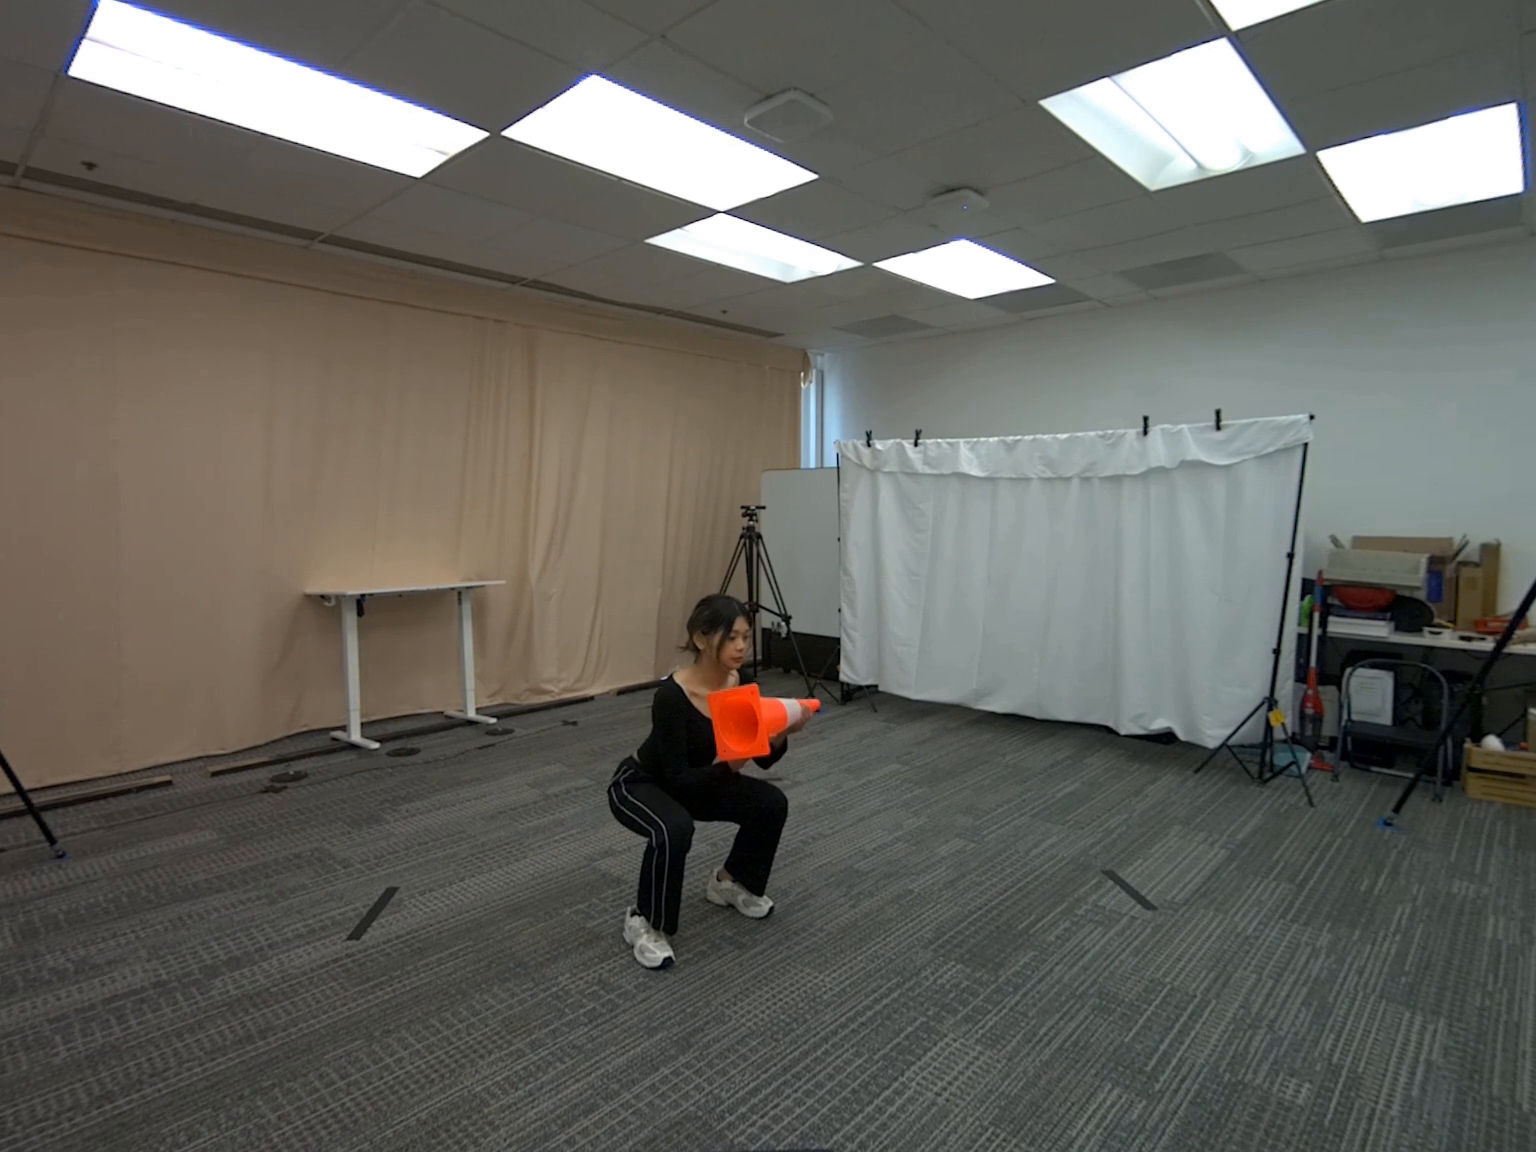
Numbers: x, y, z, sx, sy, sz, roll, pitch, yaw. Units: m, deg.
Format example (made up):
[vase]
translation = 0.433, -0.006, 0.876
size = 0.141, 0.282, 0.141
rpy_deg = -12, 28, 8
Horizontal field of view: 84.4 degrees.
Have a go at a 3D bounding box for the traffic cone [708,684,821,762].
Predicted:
[traffic cone]
translation = 0.033, 0.413, 2.541
size = 0.207, 0.207, 0.372
rpy_deg = -25, -15, 39
